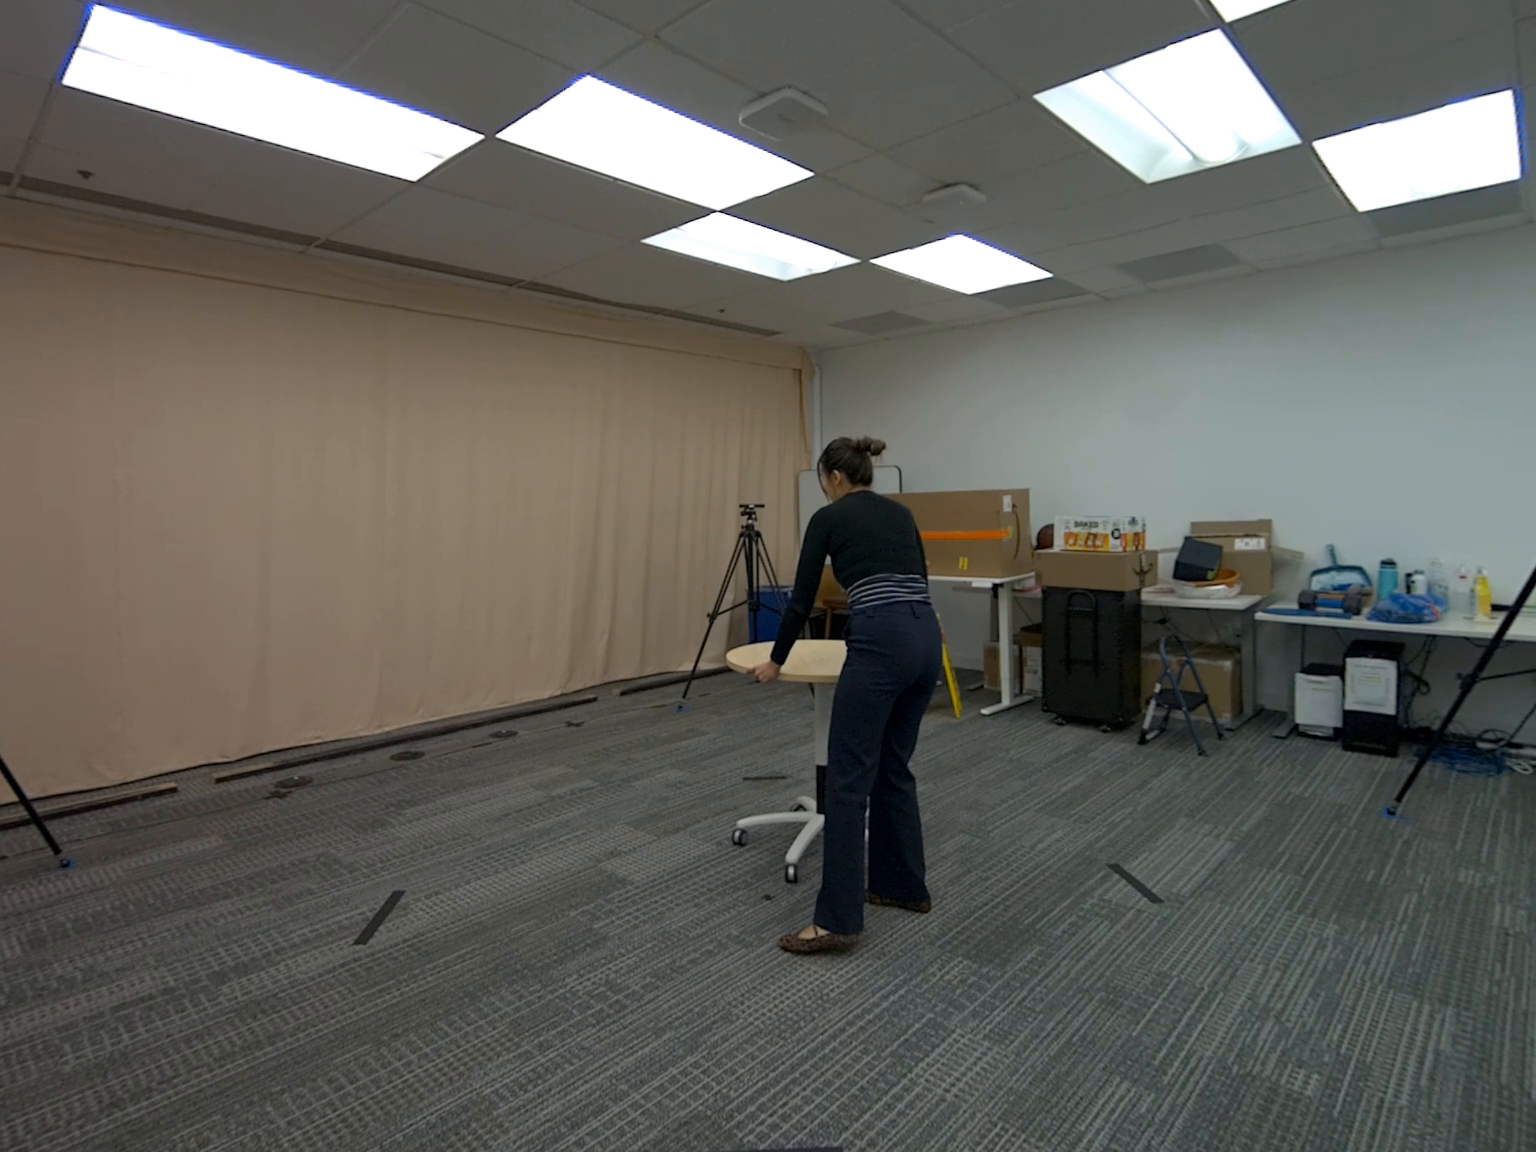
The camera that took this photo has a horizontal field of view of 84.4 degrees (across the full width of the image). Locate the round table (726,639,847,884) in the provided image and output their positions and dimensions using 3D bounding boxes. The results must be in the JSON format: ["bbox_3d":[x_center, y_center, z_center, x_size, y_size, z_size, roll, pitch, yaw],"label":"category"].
[{"bbox_3d":[0.212,0.712,3.389,0.763,0.792,0.767,-1,4,-2],"label":"round table"}]
